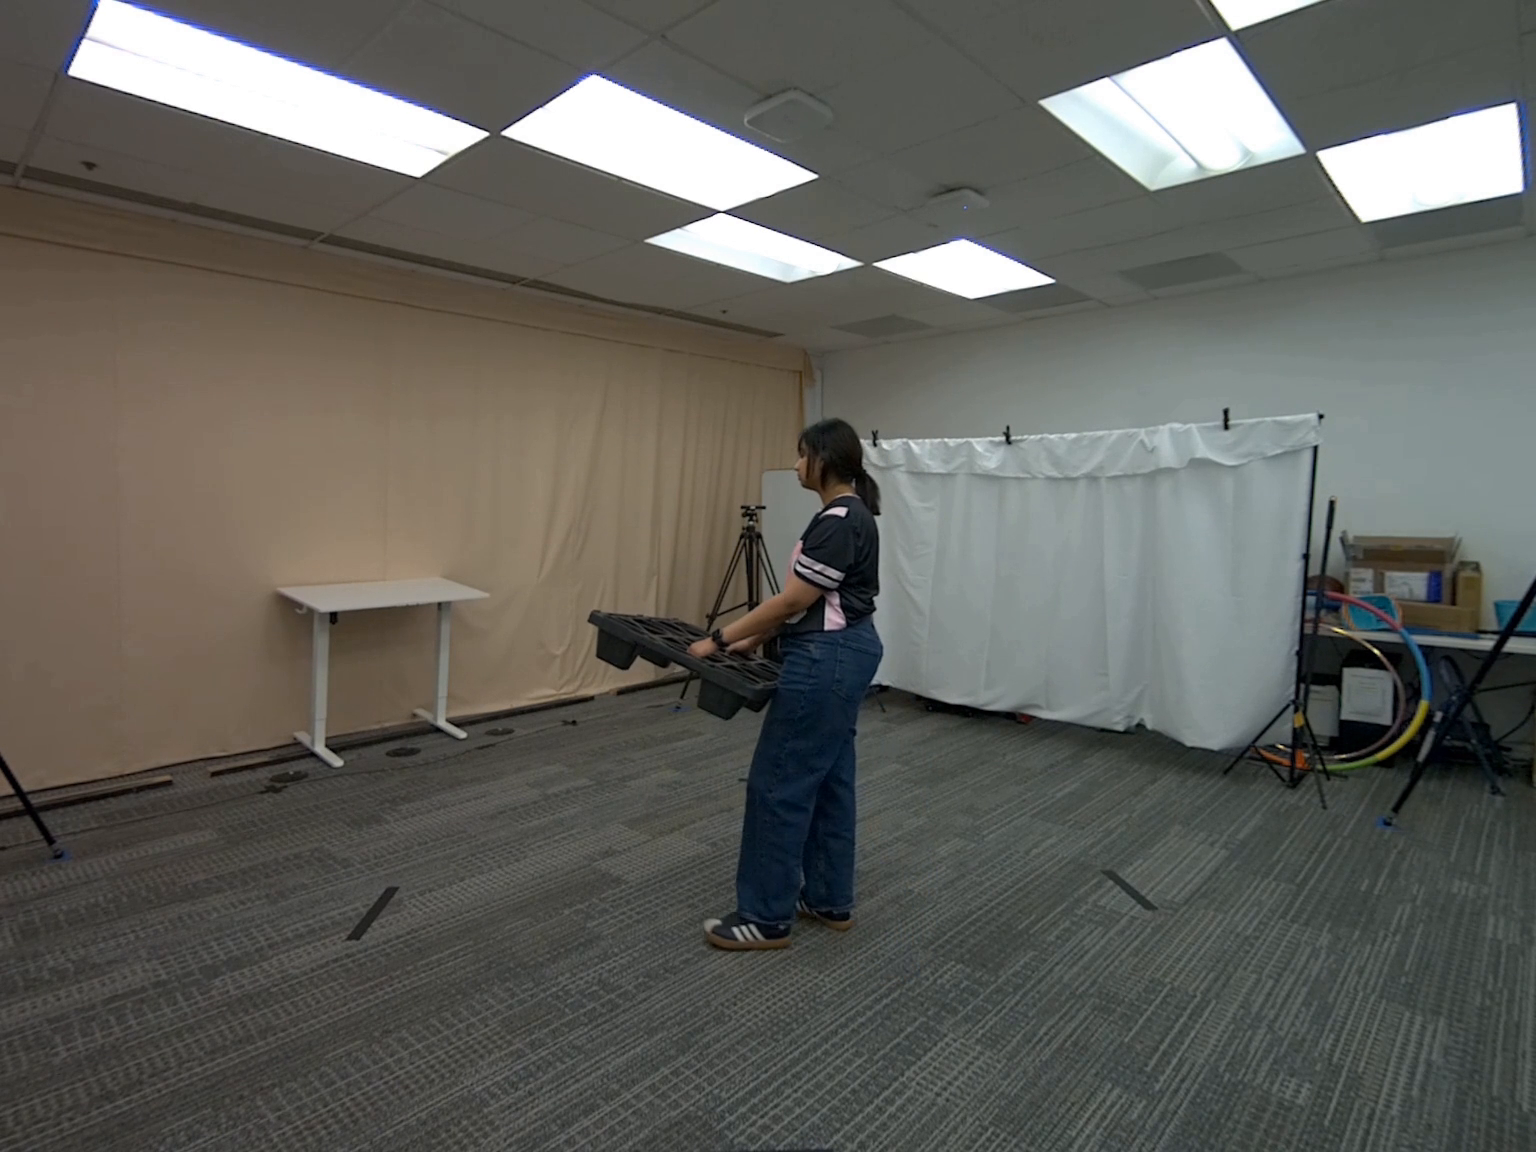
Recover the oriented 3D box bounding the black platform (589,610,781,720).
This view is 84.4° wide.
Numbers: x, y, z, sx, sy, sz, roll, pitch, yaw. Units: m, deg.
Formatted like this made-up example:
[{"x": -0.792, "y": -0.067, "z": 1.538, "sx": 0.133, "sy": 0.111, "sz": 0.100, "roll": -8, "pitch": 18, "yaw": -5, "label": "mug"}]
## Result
[{"x": -0.216, "y": 0.313, "z": 2.908, "sx": 0.619, "sy": 0.143, "sz": 0.788, "roll": 22, "pitch": 1, "yaw": 18, "label": "black platform"}]
